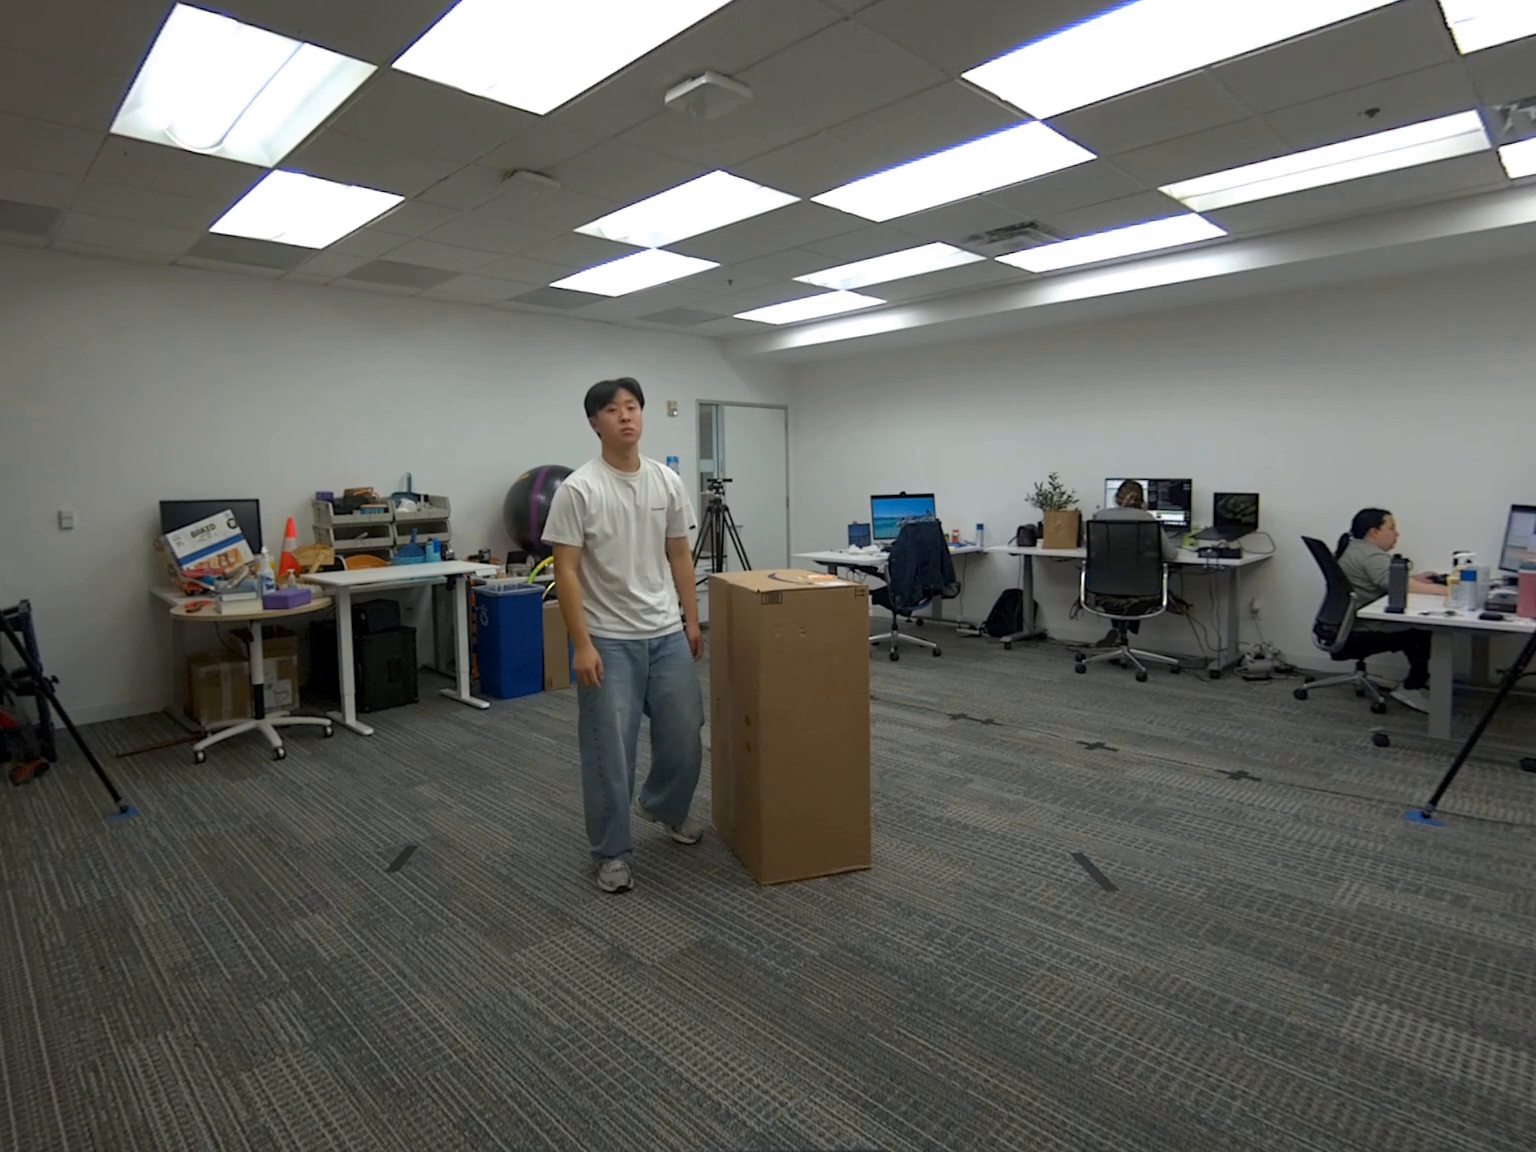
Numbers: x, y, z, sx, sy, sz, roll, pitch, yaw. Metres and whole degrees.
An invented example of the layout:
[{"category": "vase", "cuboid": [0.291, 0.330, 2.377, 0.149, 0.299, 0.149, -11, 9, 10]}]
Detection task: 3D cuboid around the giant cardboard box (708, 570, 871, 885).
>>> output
[{"category": "giant cardboard box", "cuboid": [0.069, 0.518, 3.231, 0.418, 1.022, 0.590, -2, 4, -21]}]
